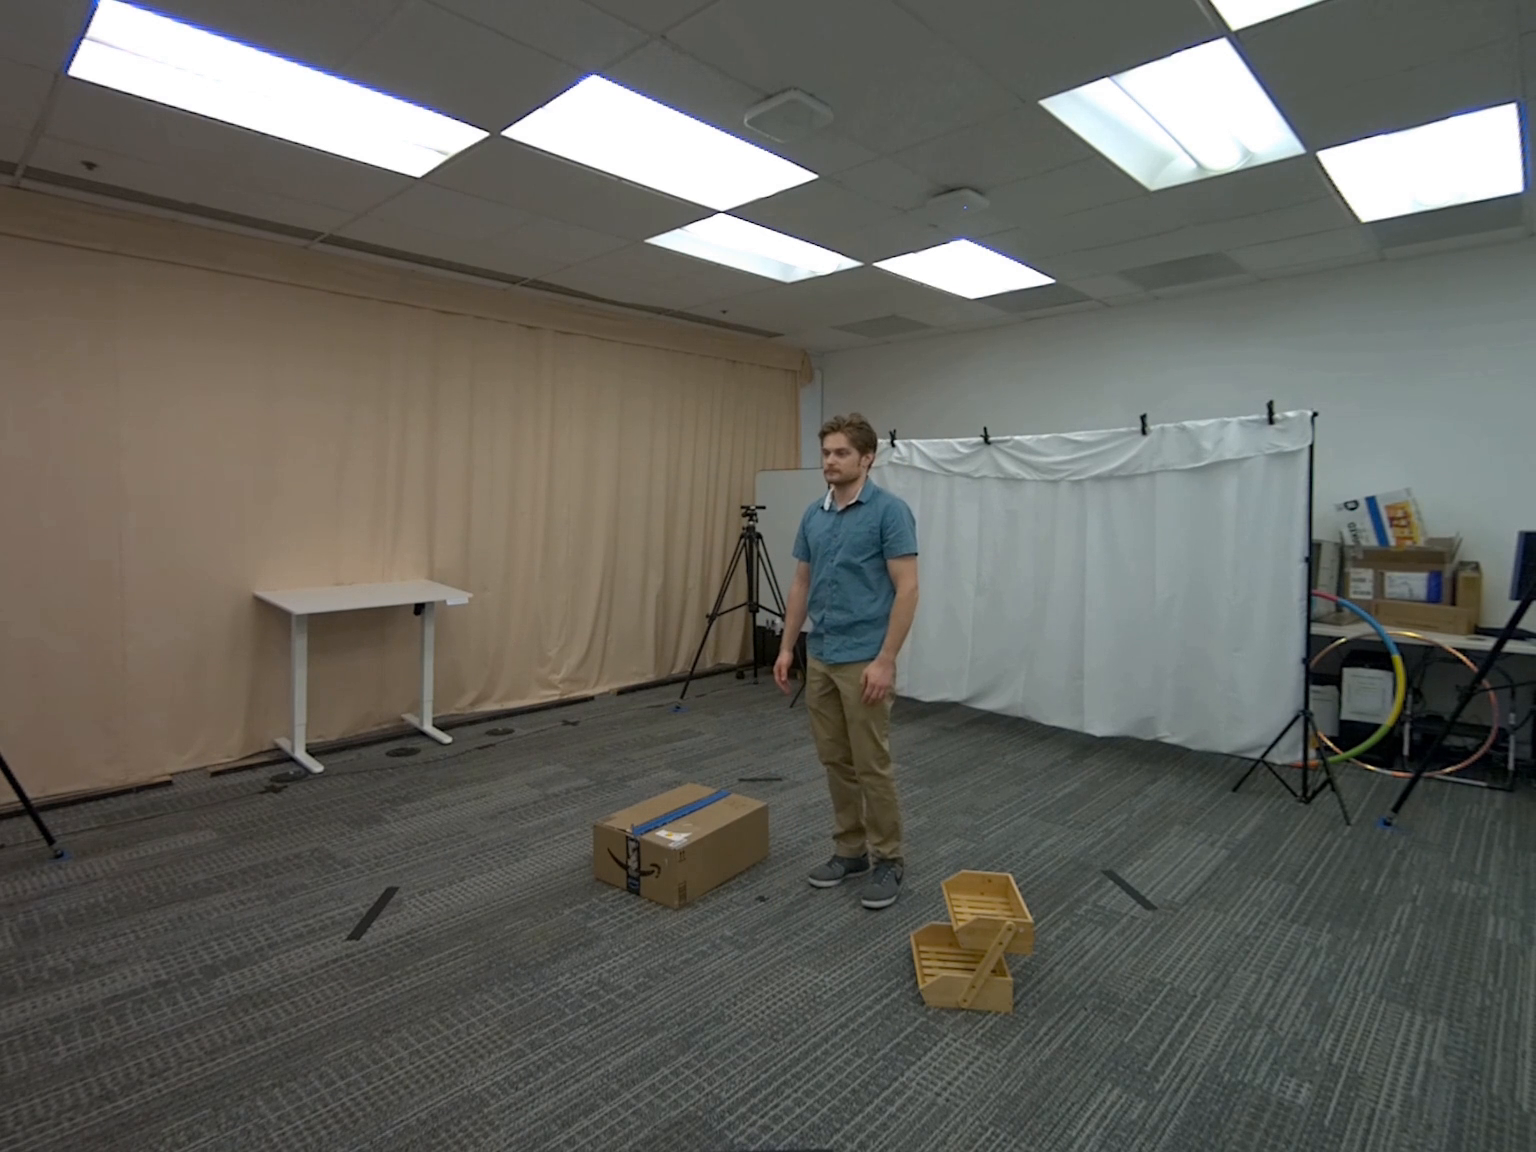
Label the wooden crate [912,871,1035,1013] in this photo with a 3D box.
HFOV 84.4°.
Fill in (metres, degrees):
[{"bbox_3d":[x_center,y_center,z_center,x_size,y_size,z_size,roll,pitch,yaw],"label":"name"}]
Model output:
[{"bbox_3d":[0.587,1.051,2.461,0.304,0.273,0.323,1,4,6],"label":"wooden crate"}]
